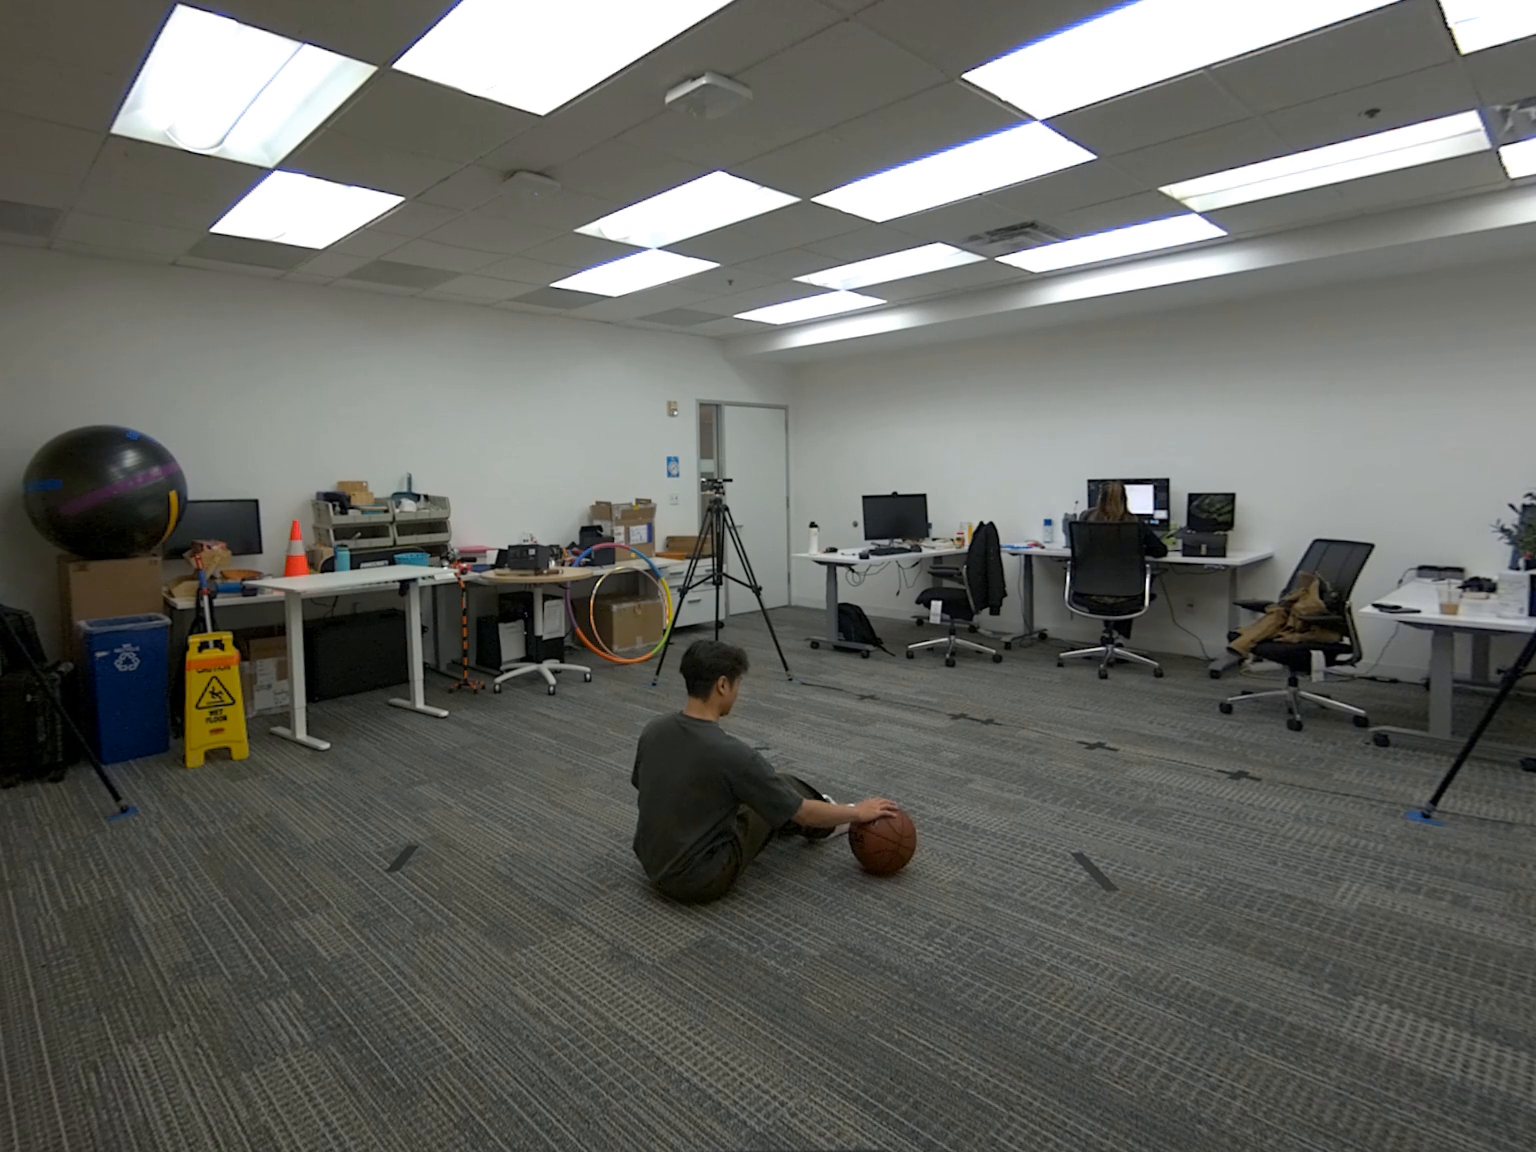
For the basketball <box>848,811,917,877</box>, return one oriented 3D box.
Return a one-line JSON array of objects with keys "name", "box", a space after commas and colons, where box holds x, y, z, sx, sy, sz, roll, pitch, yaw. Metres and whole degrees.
[{"name": "basketball", "box": [0.400, 0.923, 3.020, 0.236, 0.235, 0.237, -1, 5, -2]}]
